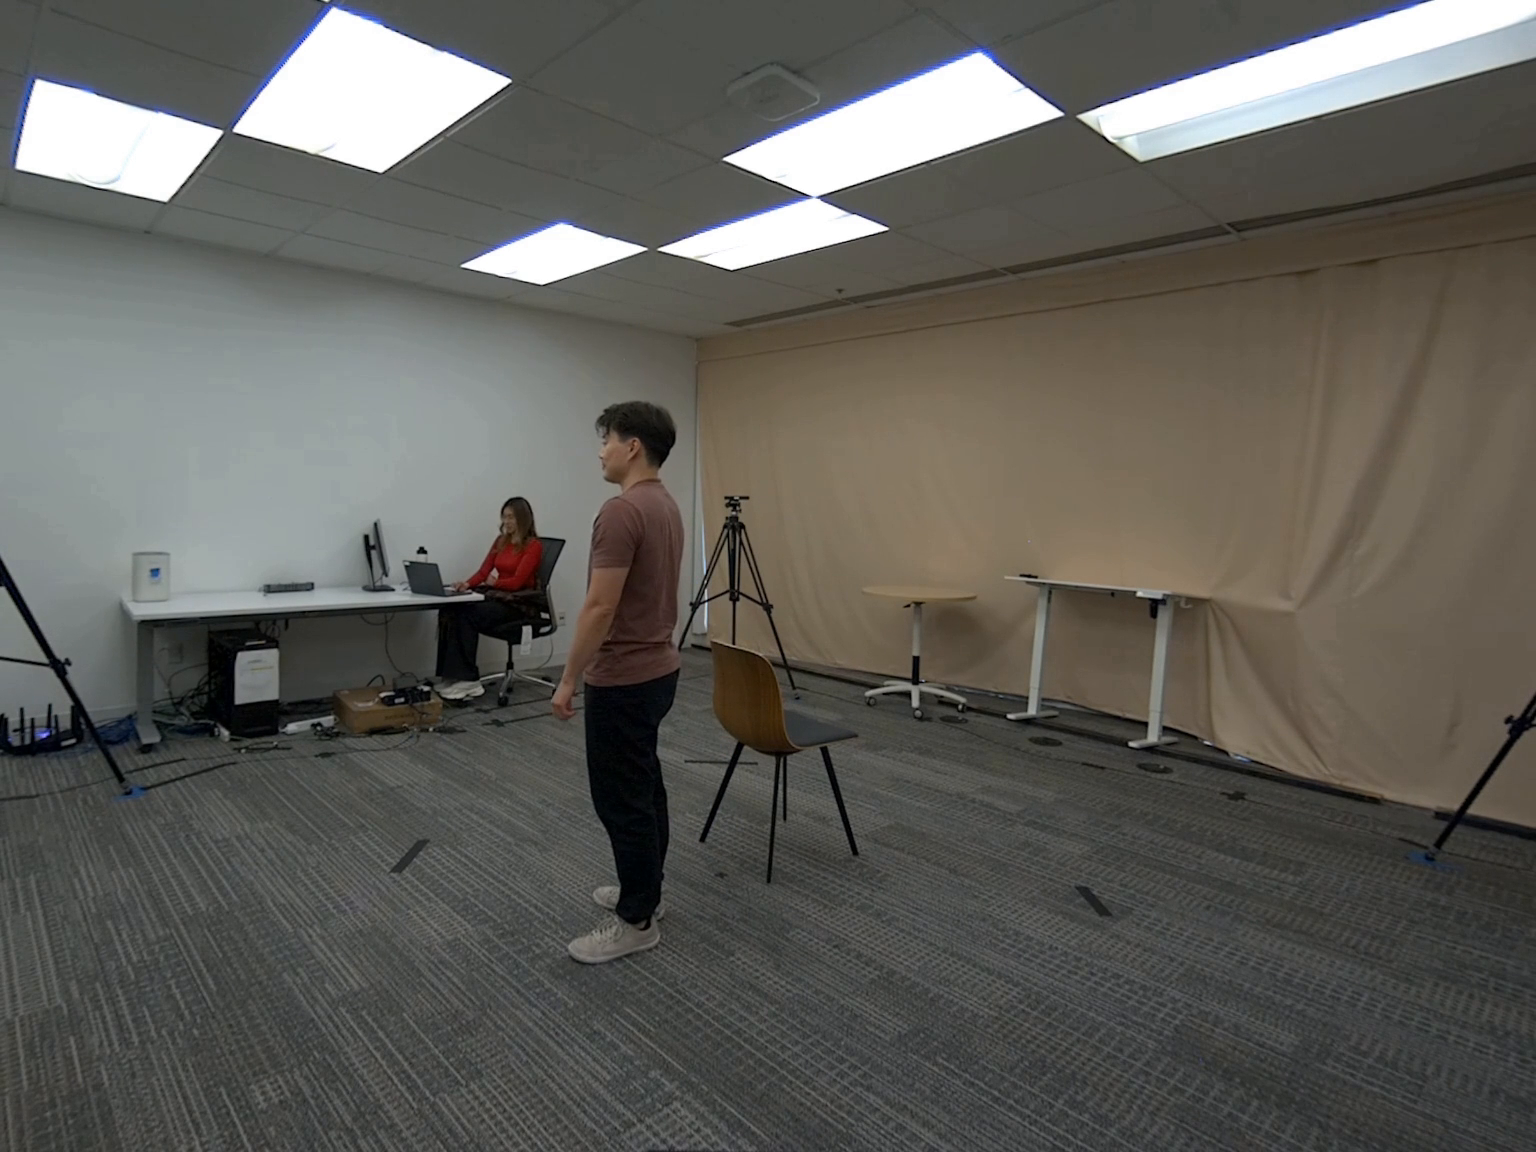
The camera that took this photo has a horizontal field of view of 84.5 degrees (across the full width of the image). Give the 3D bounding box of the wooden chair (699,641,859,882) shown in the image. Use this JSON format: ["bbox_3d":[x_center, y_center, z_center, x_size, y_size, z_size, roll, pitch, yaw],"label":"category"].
[{"bbox_3d":[0.050,0.659,3.327,0.512,0.873,0.490,-6,7,-37],"label":"wooden chair"}]
